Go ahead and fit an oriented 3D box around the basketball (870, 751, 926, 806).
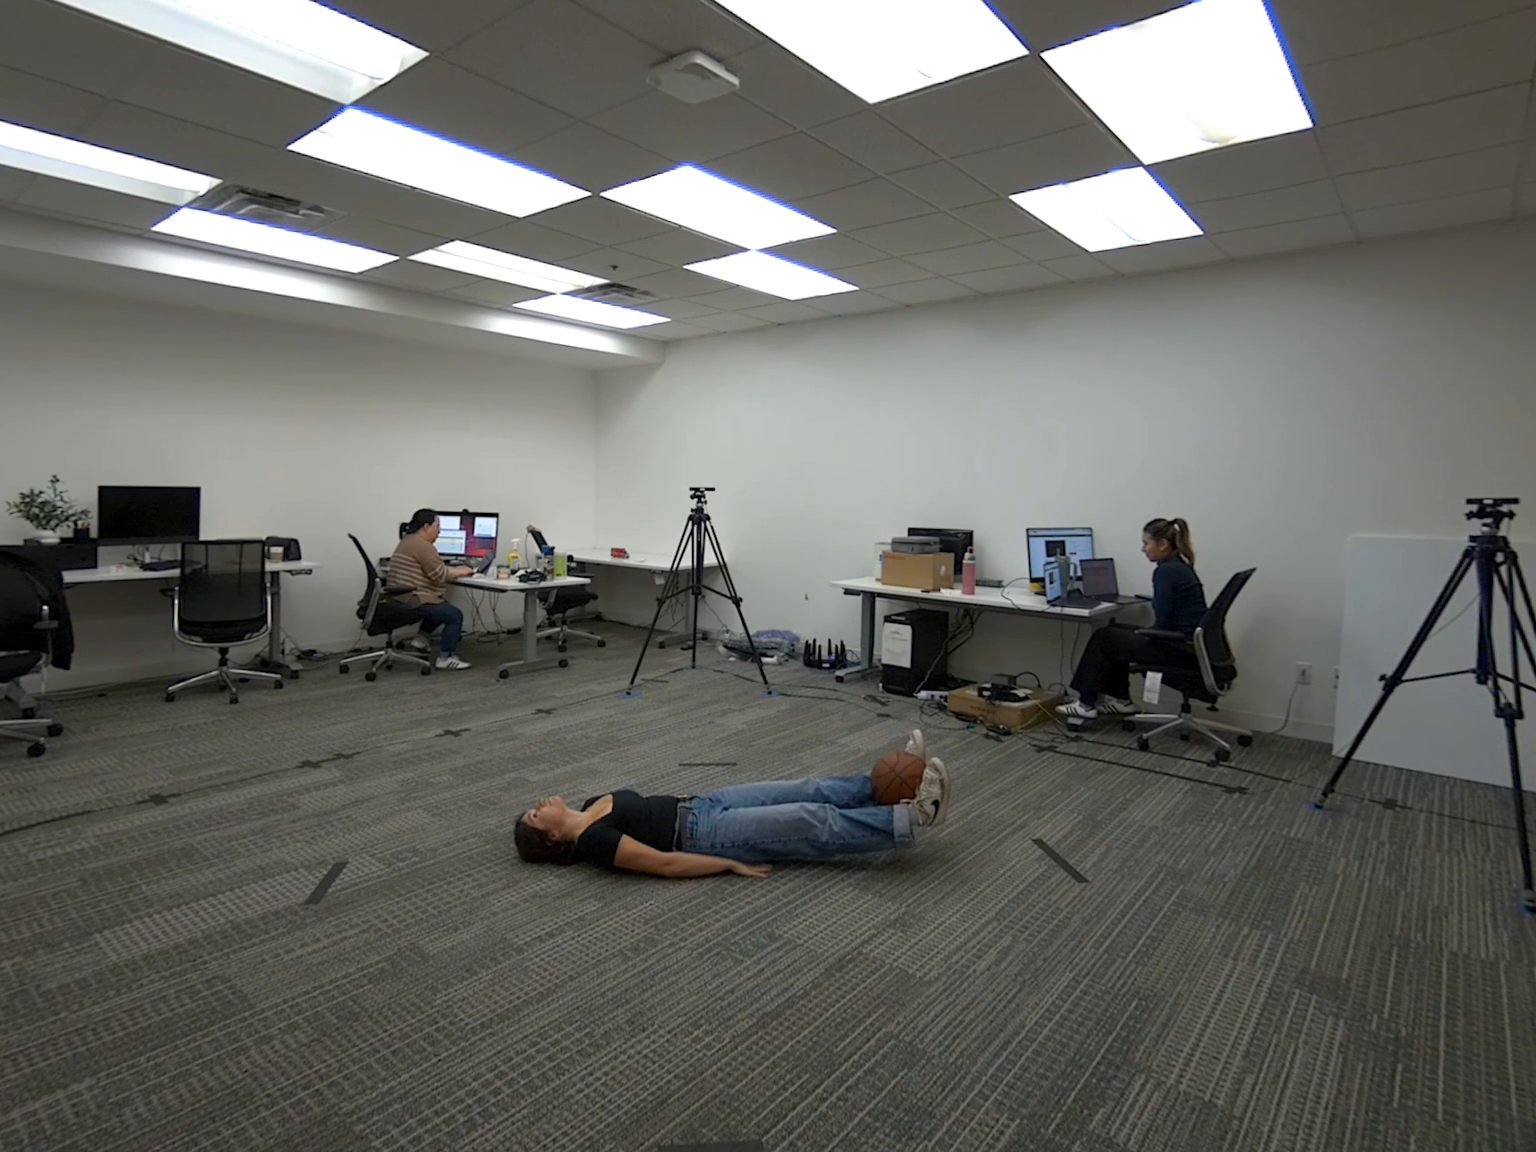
[{"bbox_3d":[0.510,0.793,3.300,0.235,0.235,0.237,1,4,-2],"label":"basketball"}]
